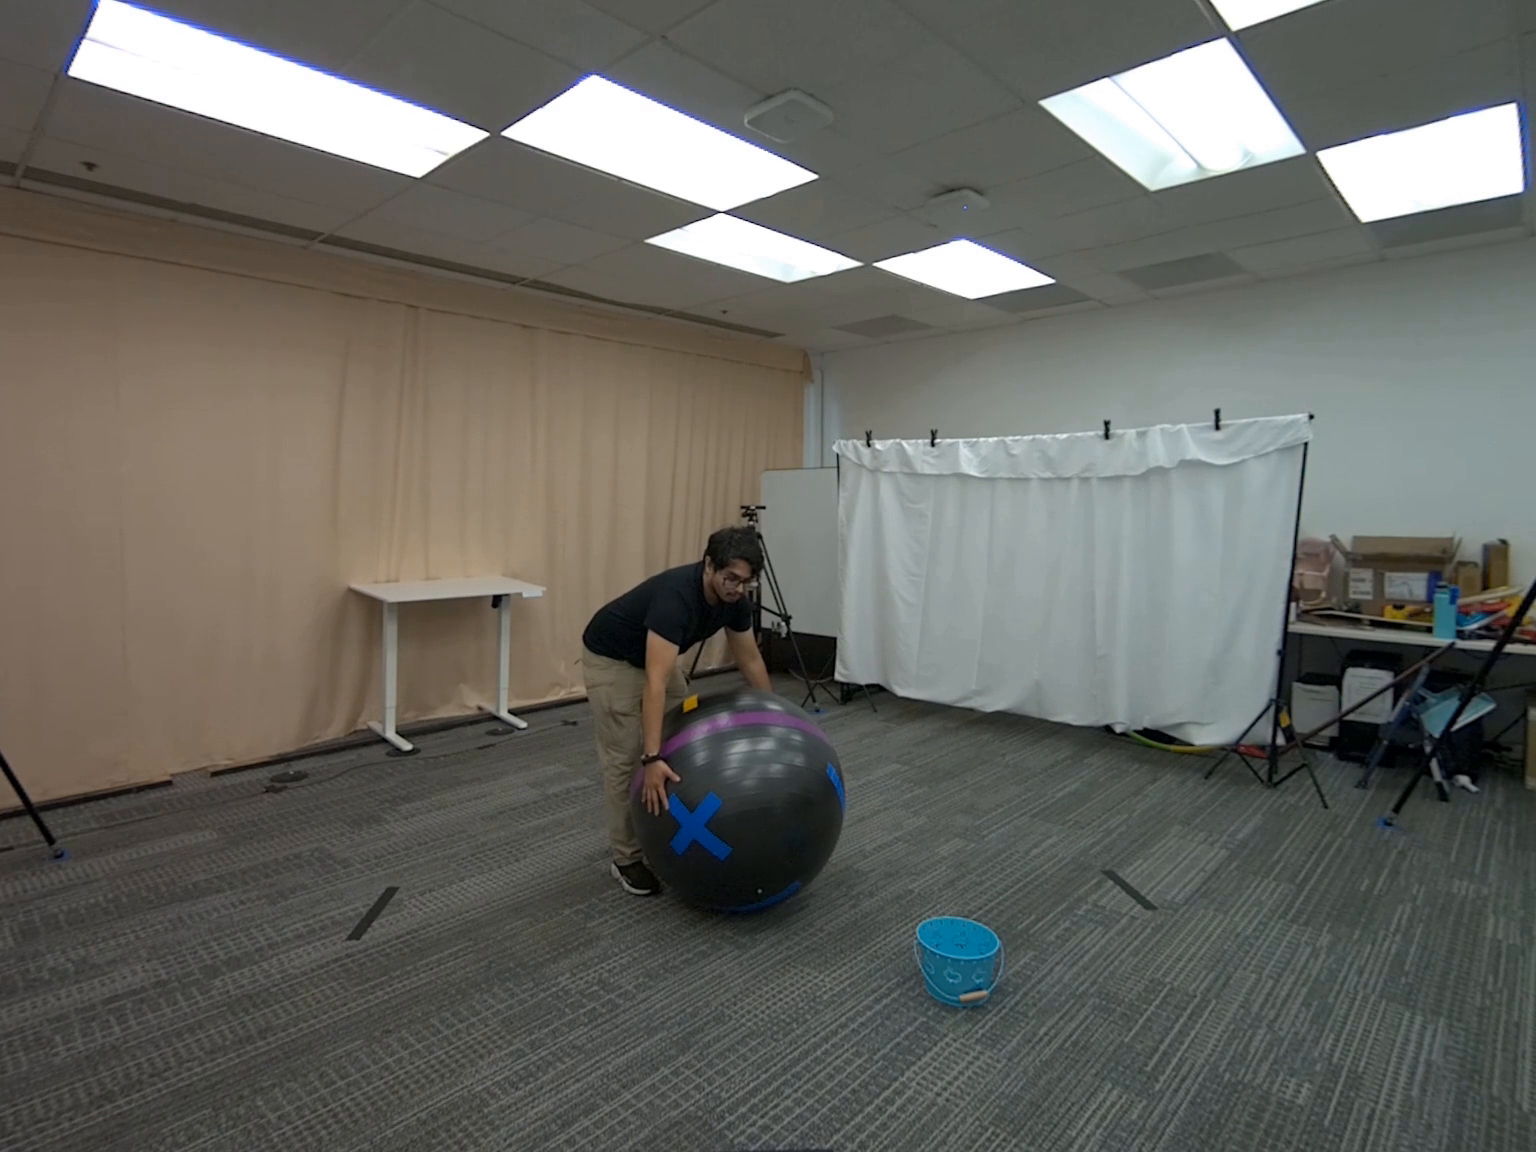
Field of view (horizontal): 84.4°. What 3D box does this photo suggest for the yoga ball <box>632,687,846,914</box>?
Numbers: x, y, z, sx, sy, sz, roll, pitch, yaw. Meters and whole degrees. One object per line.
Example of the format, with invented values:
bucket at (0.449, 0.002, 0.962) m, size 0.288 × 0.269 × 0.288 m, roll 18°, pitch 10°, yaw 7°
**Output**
yoga ball at (-0.108, 0.781, 2.980) m, size 0.757 × 0.756 × 0.760 m, roll 0°, pitch 4°, yaw -2°
